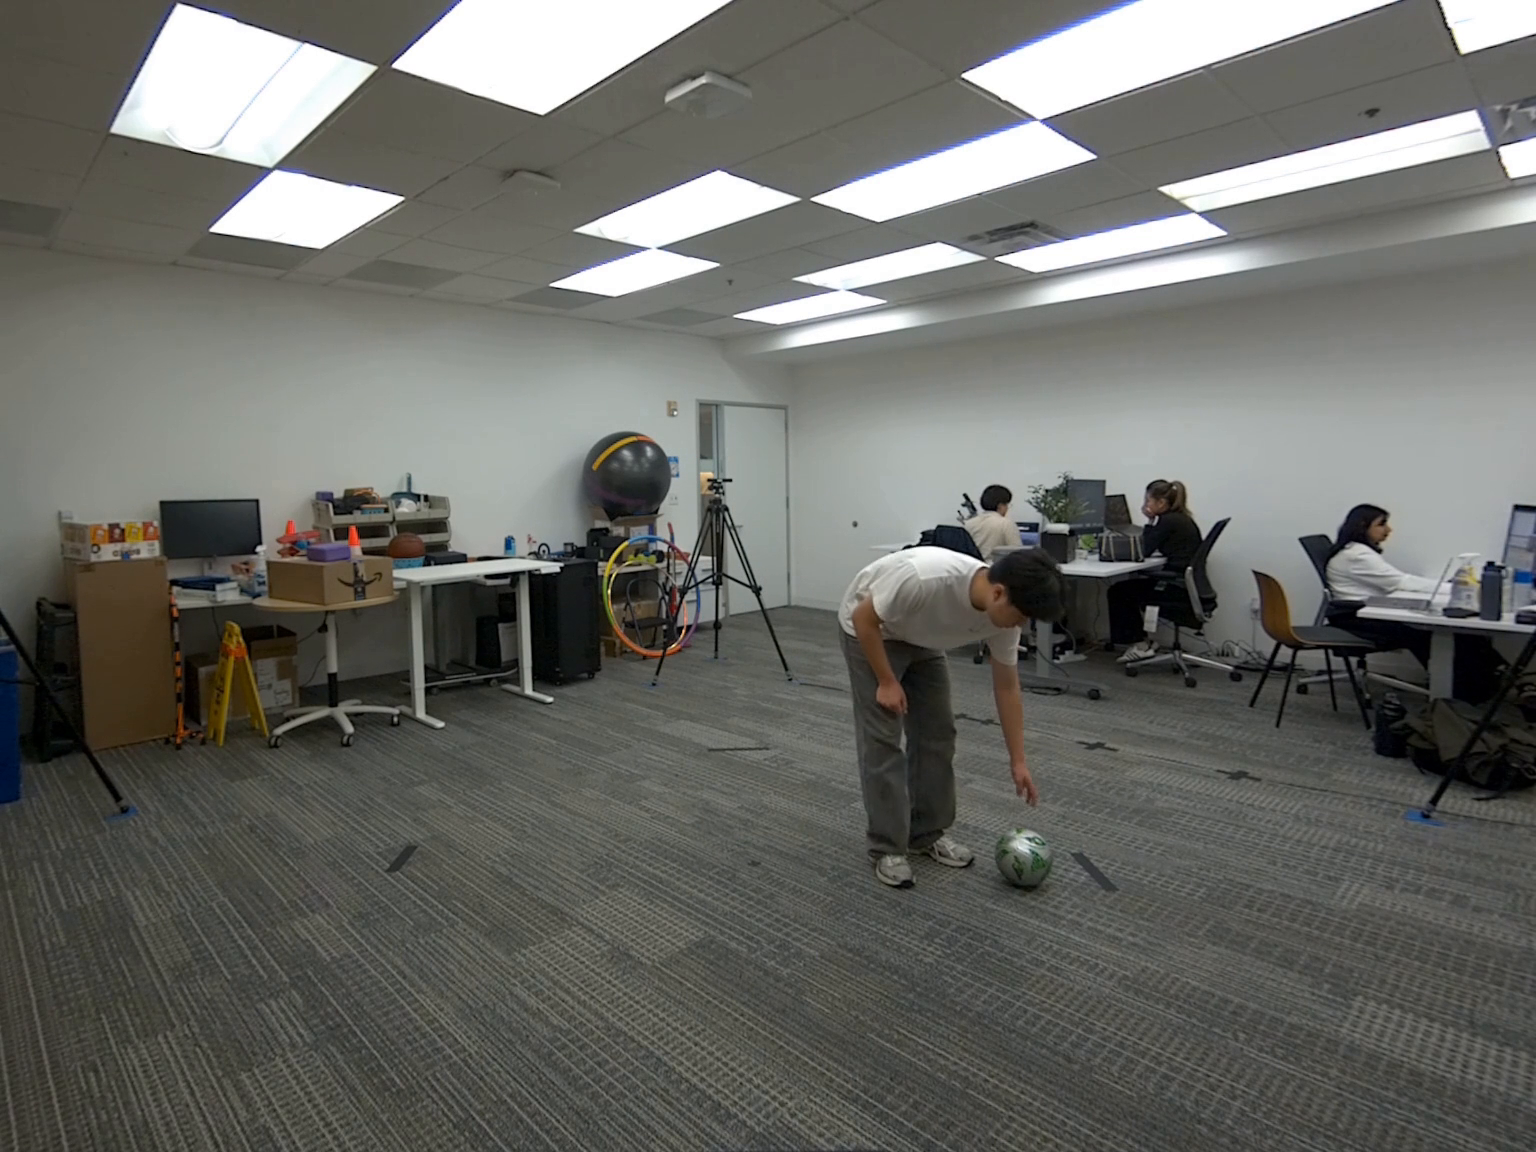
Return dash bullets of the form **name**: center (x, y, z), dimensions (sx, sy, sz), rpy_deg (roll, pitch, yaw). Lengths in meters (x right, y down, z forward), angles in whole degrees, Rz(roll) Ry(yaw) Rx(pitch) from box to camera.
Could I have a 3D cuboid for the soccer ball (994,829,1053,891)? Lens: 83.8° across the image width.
- **soccer ball**: center (0.876, 0.961, 2.913), dimensions (0.187, 0.187, 0.188), rpy_deg (-1, 5, -2)
